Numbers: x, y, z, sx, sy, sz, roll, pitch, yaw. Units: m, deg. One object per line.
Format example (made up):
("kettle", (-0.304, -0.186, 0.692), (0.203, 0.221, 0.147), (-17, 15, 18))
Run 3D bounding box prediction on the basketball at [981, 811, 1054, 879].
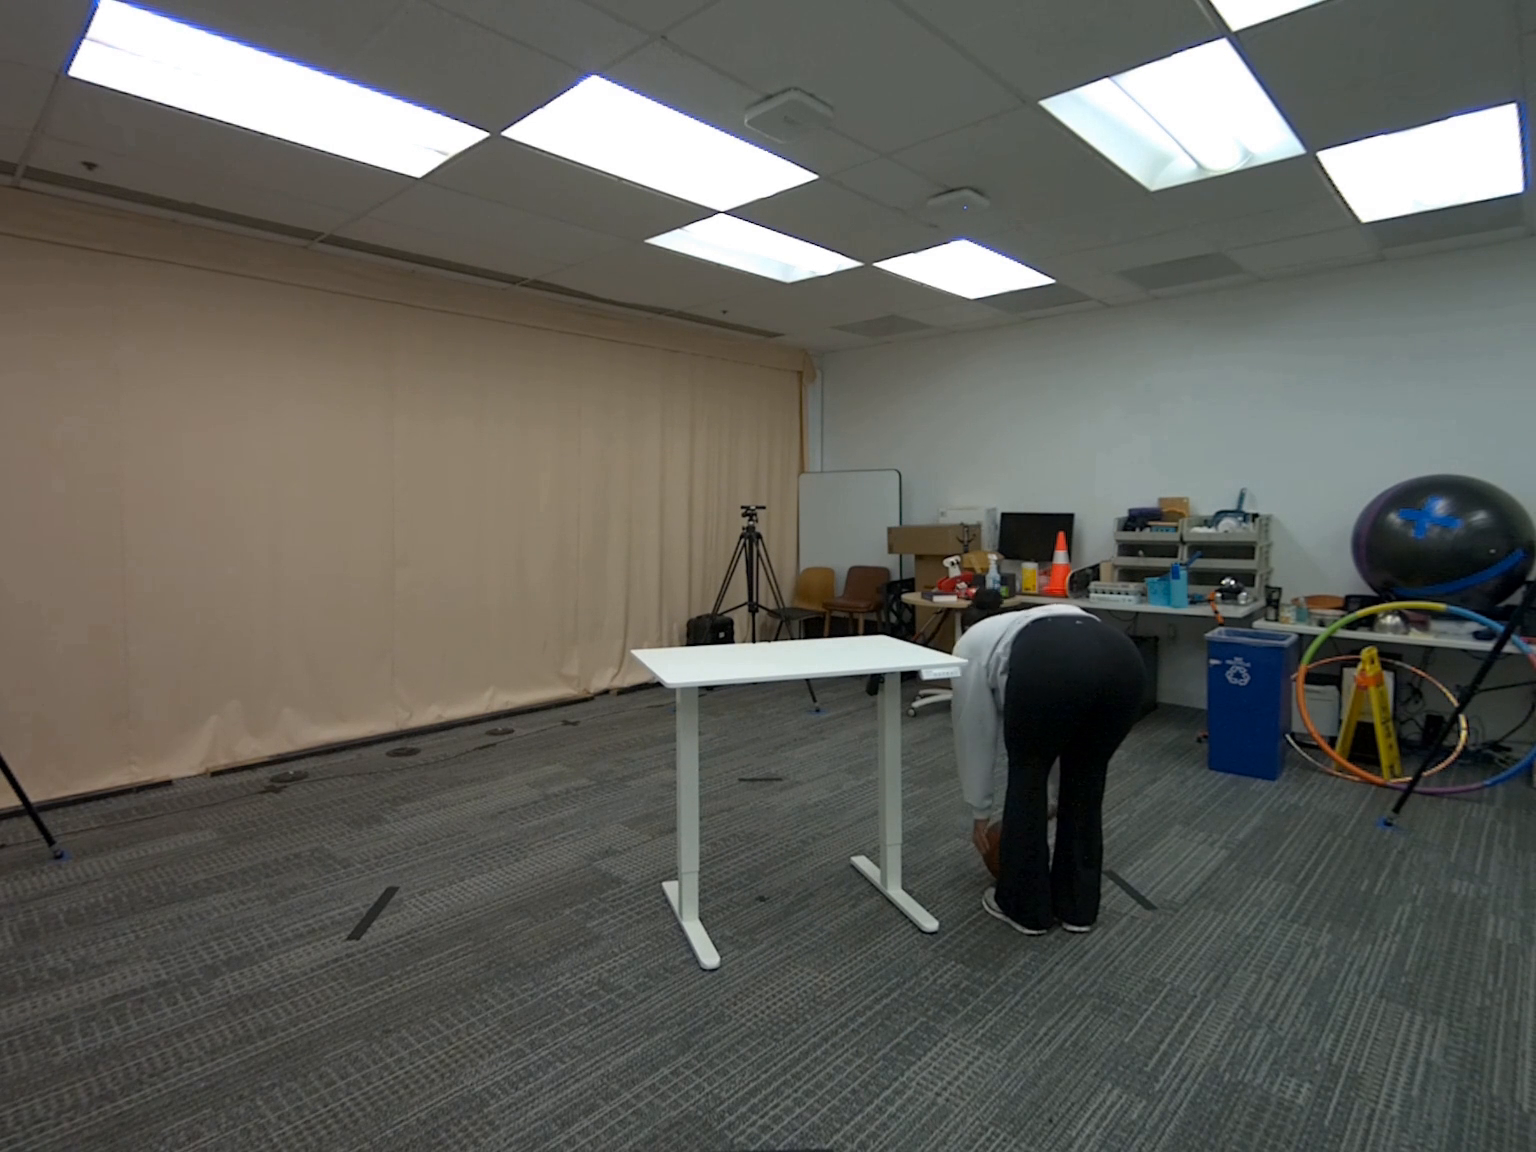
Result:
("basketball", (0.919, 1.012, 3.092), (0.236, 0.235, 0.237), (0, 4, -2))
